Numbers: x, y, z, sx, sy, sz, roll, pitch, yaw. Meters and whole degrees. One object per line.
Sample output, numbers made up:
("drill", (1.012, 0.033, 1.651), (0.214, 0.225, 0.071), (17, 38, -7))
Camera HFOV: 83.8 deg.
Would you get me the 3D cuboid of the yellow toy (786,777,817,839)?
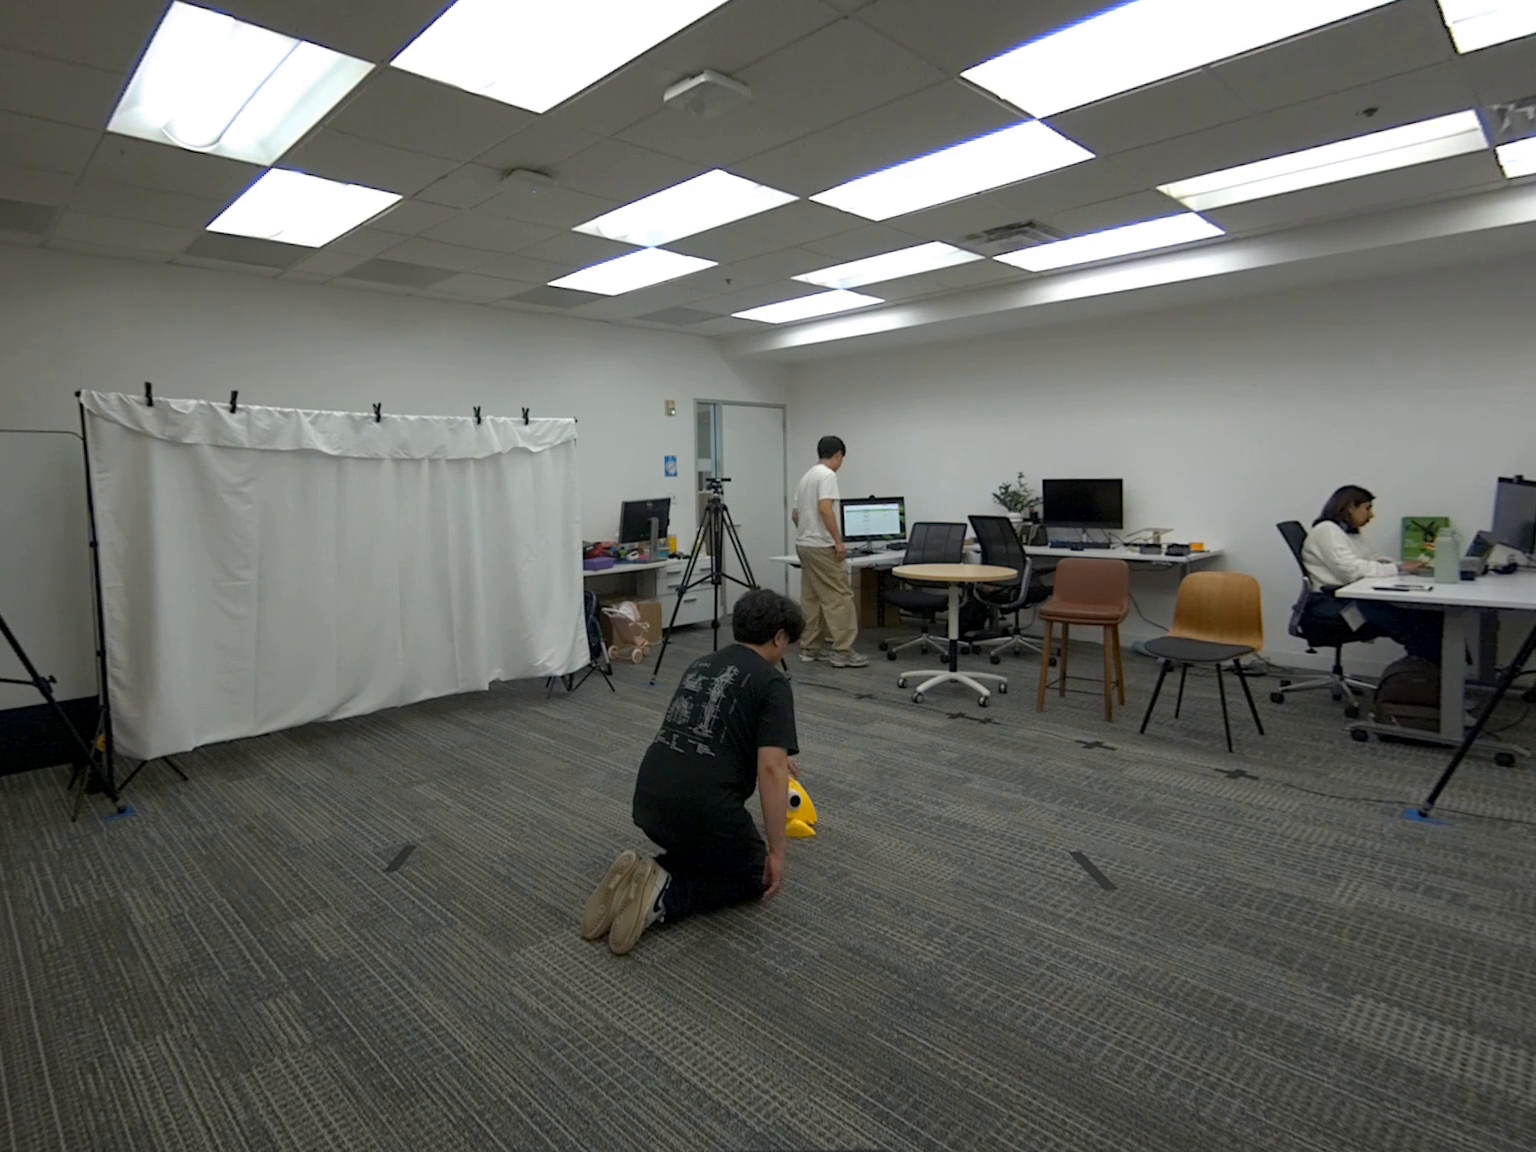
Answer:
("yellow toy", (0.105, 0.891, 3.416), (0.195, 0.230, 0.204), (-1, 5, 8))
